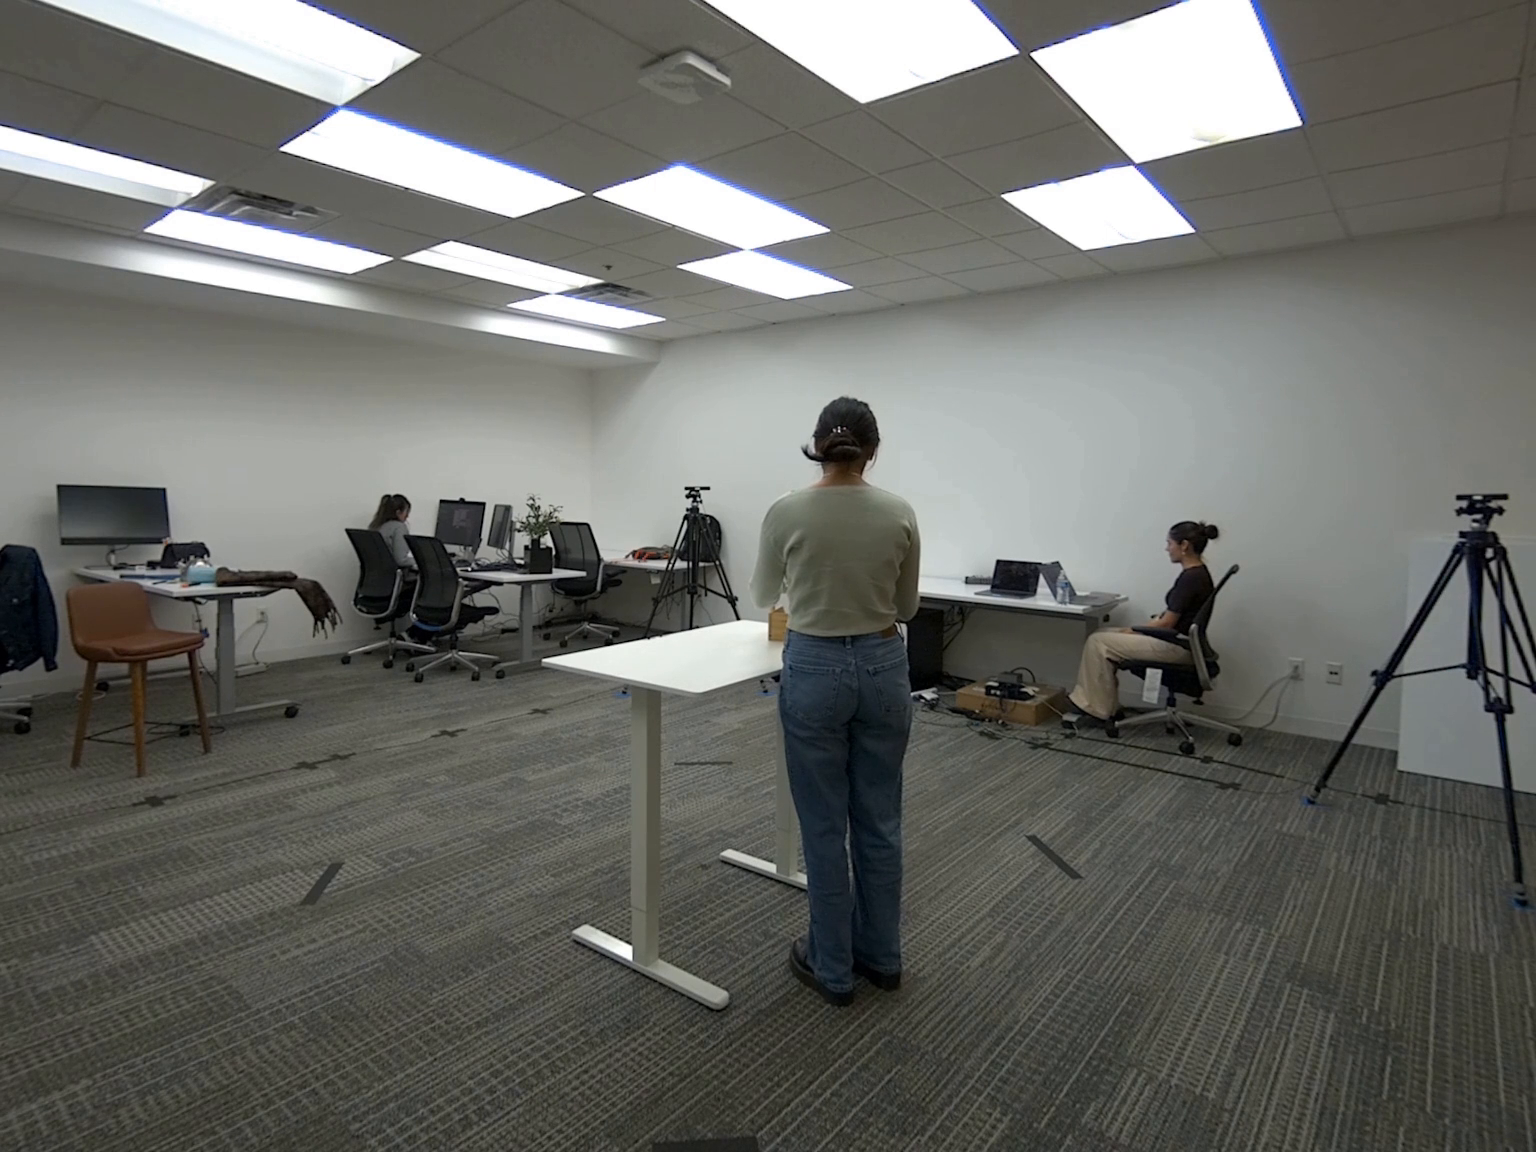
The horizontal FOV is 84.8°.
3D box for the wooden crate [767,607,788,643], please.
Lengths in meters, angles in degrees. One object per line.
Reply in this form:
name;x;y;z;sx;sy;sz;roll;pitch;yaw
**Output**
wooden crate;0.162;0.073;2.876;0.330;0.272;0.298;2;5;15
